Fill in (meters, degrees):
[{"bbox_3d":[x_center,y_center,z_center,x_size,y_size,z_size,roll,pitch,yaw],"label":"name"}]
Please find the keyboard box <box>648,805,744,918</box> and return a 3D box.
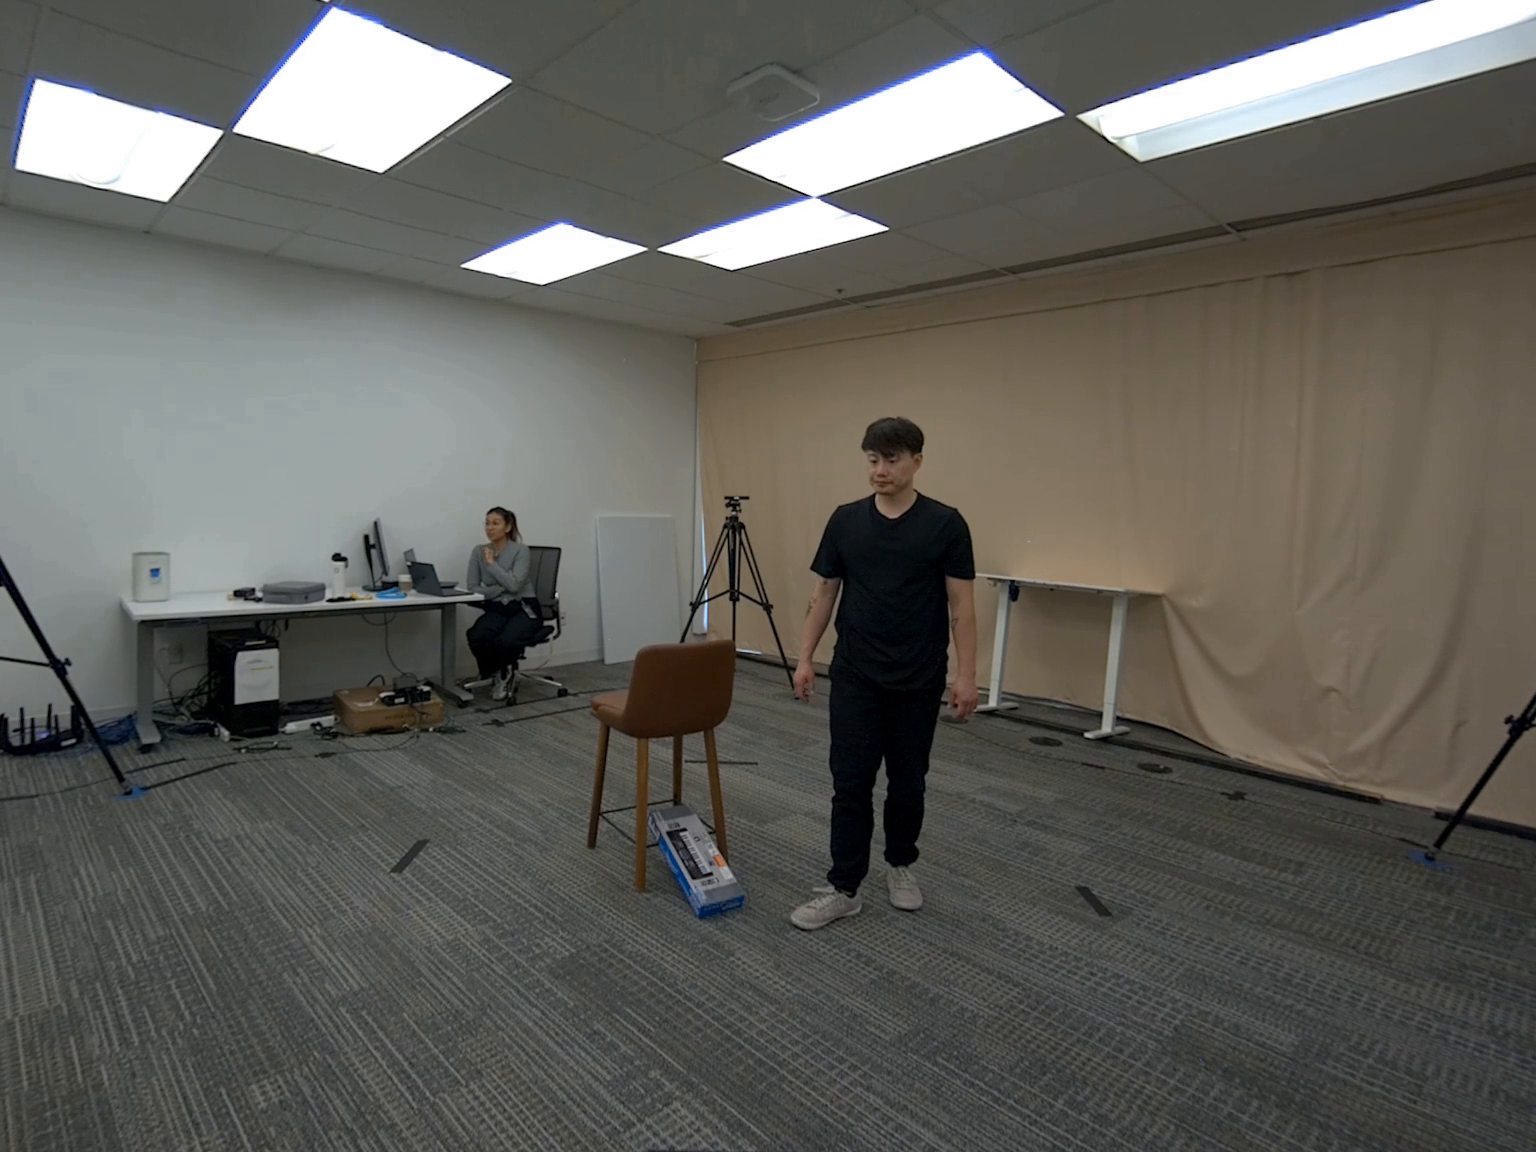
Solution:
[{"bbox_3d":[-0.257,0.995,2.972,0.172,0.058,0.451,-2,30,-32],"label":"keyboard box"}]
